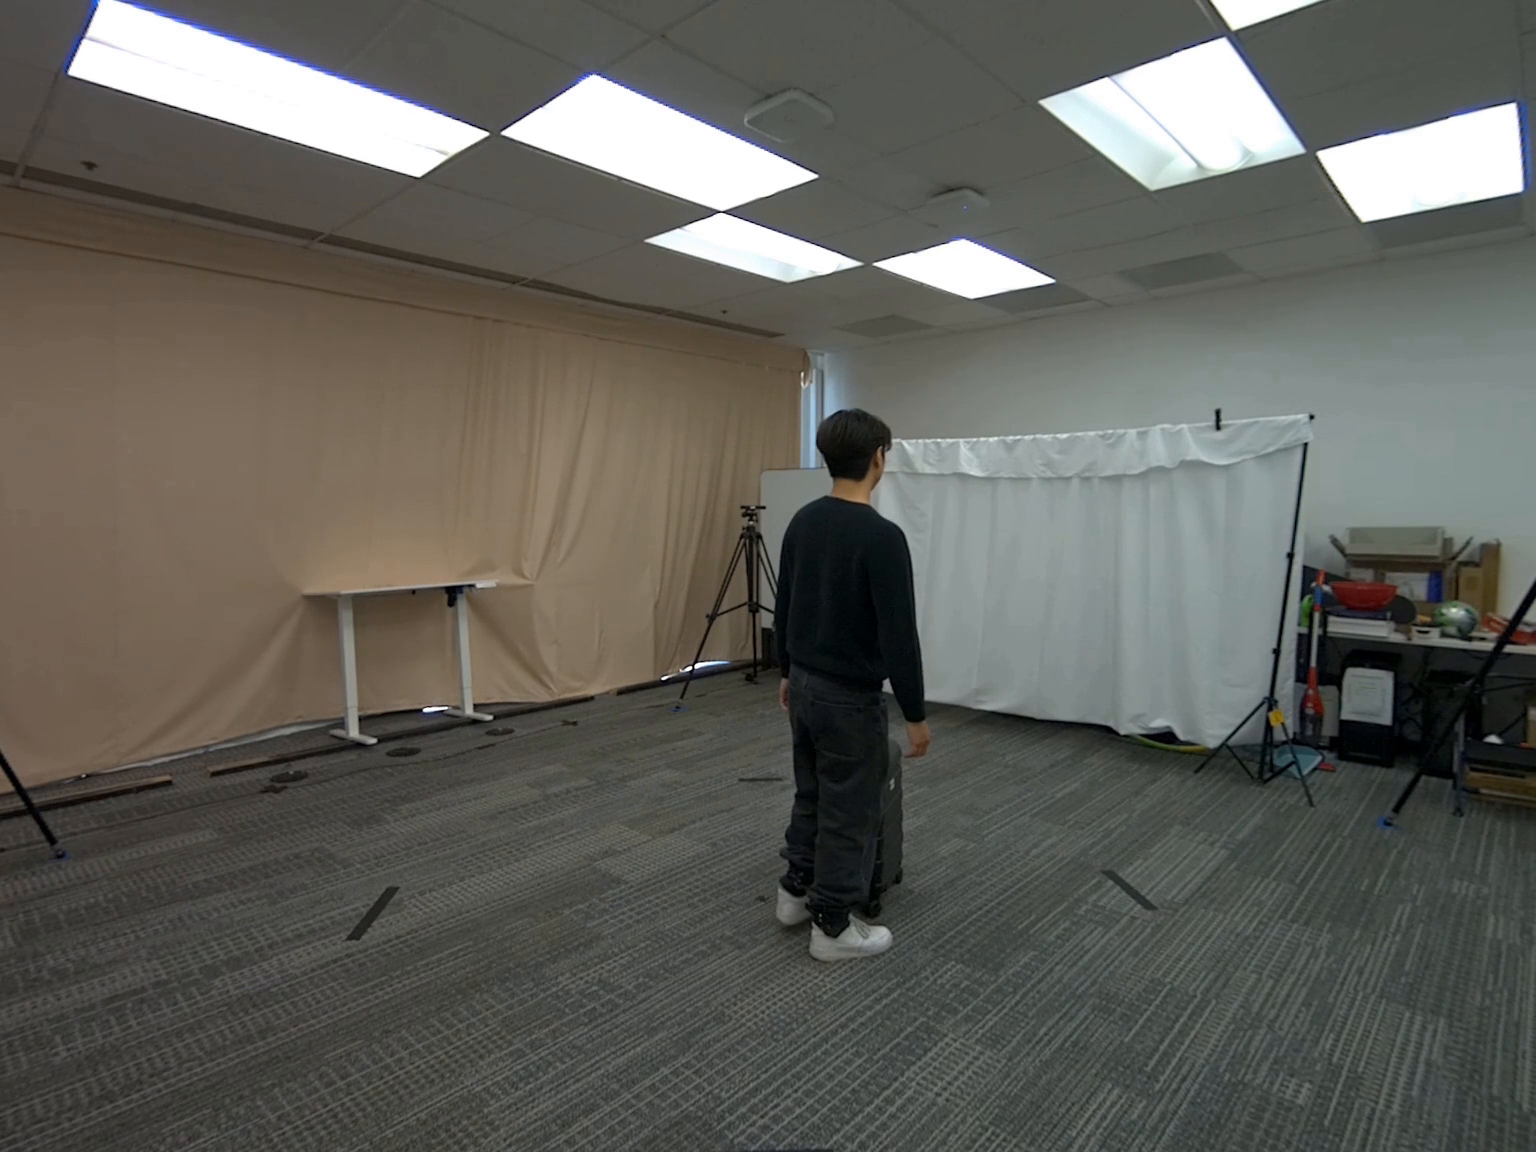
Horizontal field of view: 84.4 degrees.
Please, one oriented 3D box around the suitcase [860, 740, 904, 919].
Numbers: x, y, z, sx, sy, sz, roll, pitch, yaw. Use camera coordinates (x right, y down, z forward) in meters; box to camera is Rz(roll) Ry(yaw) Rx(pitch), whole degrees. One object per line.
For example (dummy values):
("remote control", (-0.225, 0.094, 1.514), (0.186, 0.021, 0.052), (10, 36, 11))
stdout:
("suitcase", (0.340, 0.863, 3.039), (0.254, 0.548, 0.367), (2, 3, 23))
